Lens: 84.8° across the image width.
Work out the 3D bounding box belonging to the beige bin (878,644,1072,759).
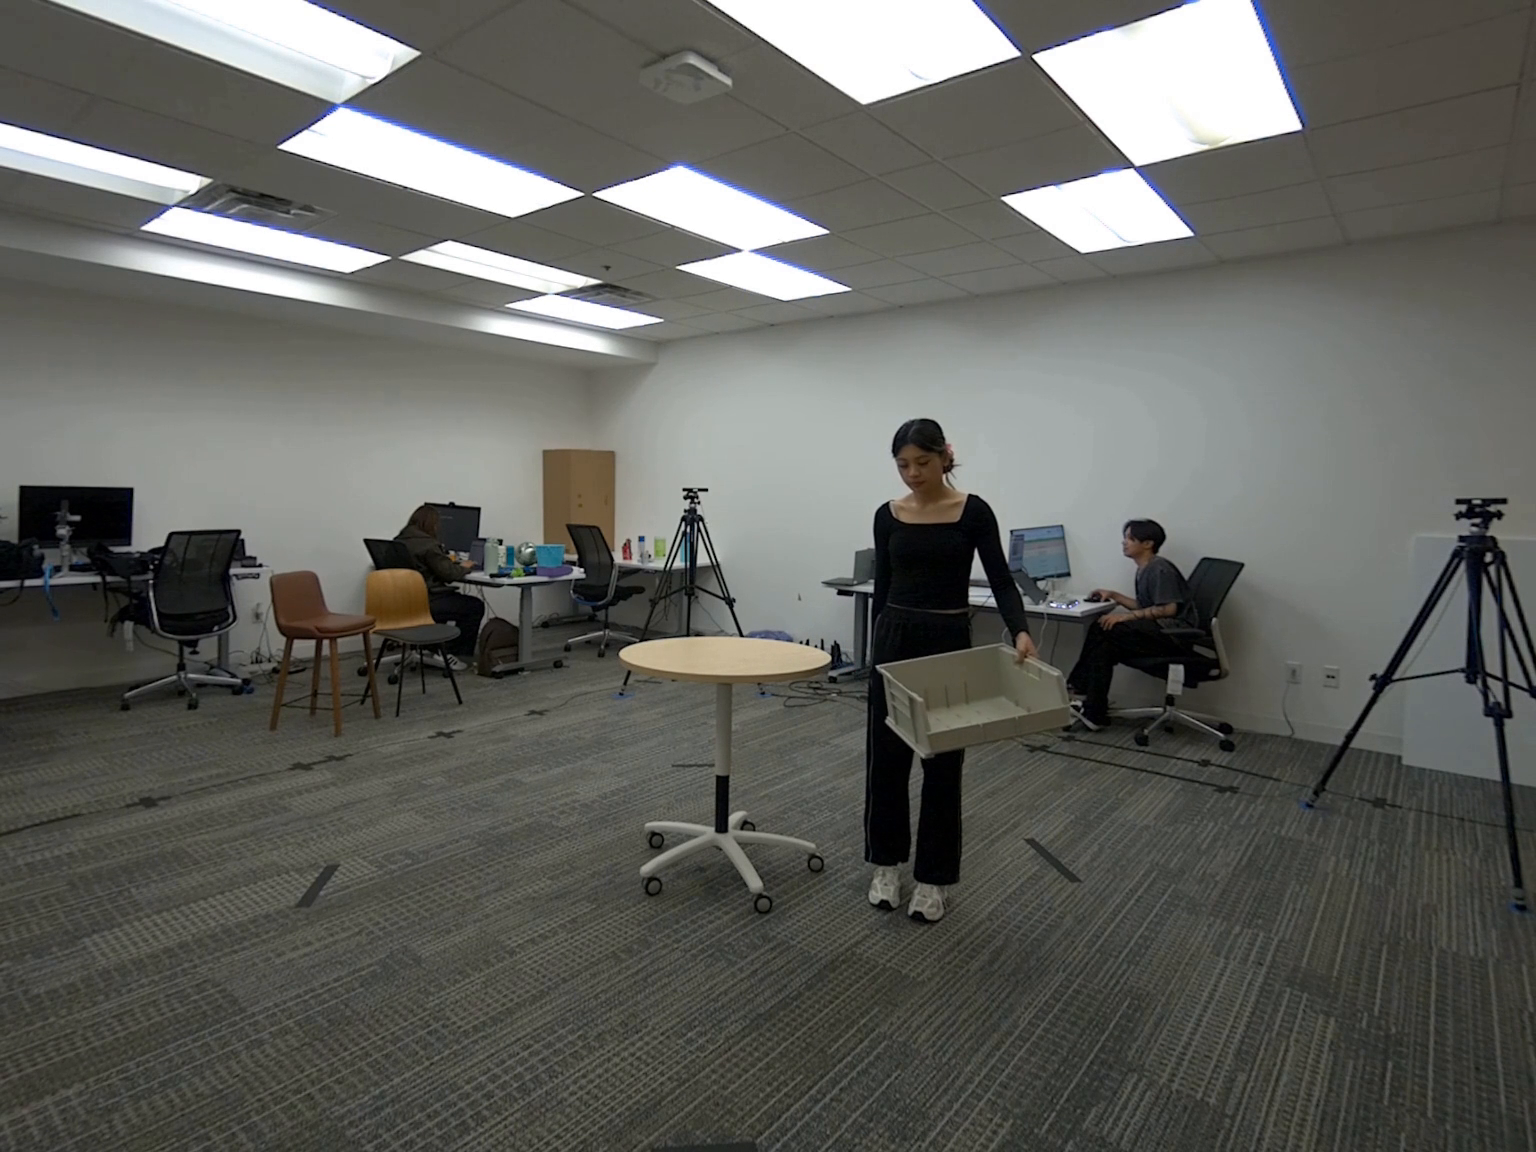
[{"bbox_3d":[0.580,0.358,2.475,0.419,0.188,0.383,-9,7,-9],"label":"beige bin"}]
